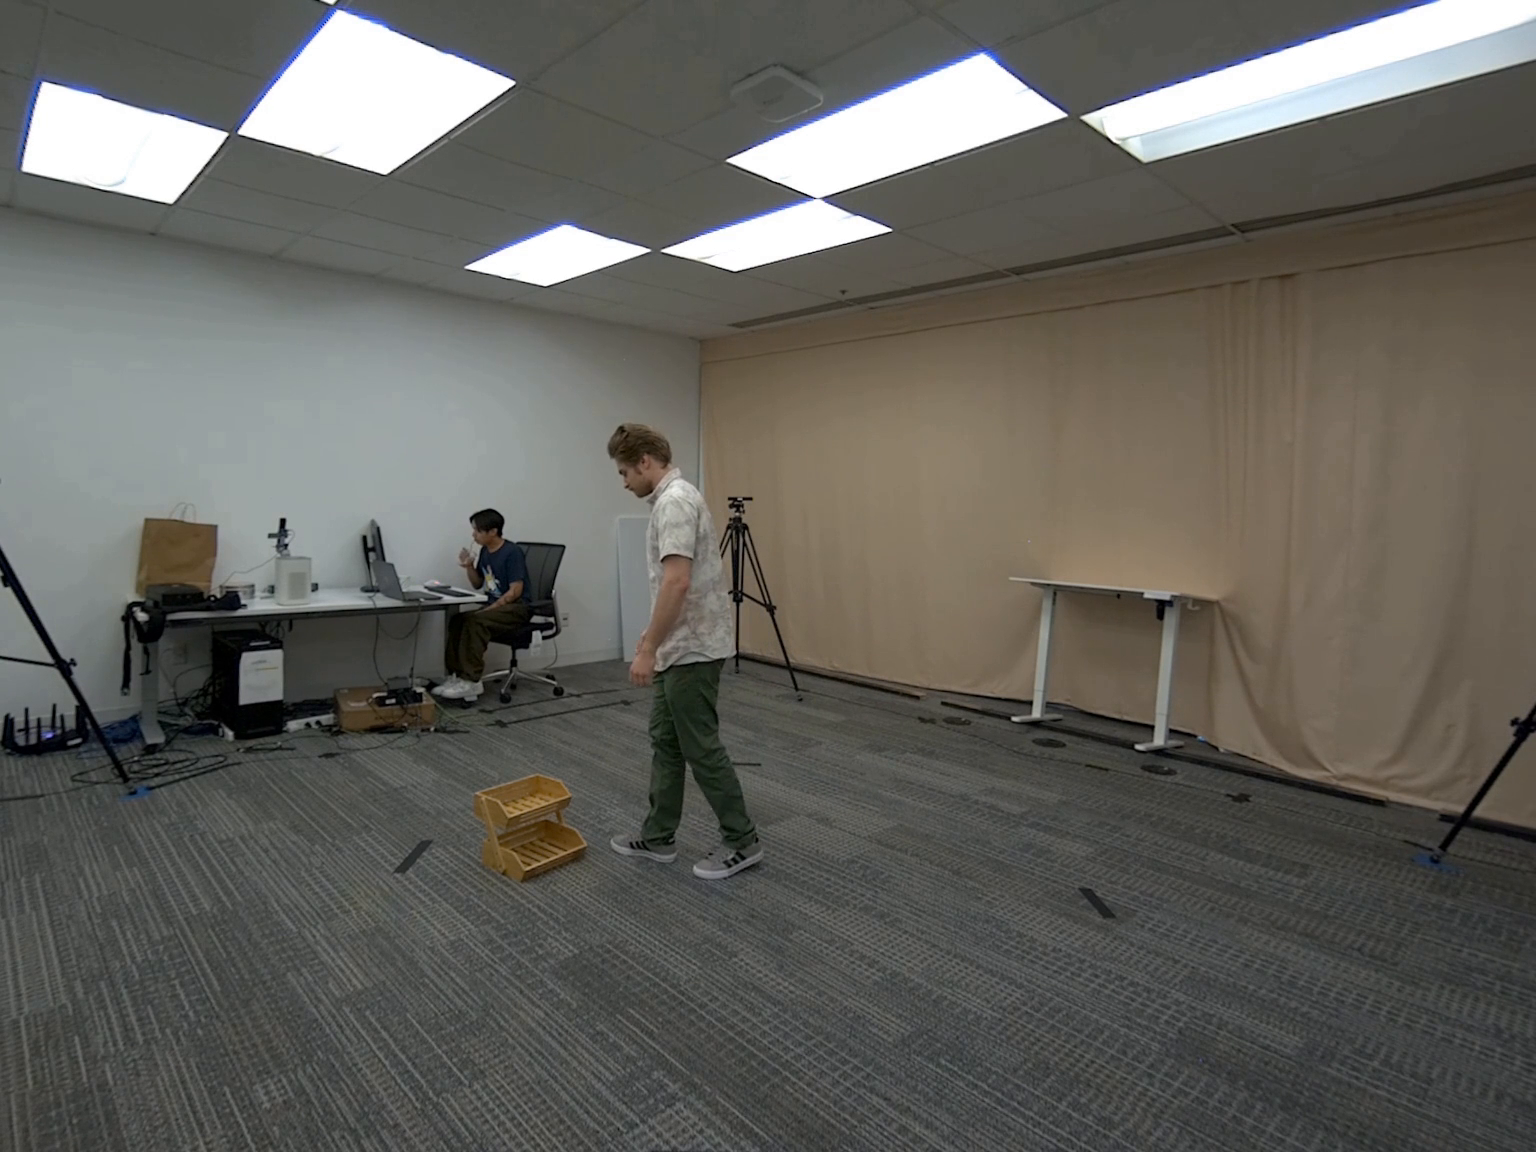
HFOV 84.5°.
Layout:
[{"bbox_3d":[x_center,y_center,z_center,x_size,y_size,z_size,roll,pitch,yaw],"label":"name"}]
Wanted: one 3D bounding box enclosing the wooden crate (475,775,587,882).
[{"bbox_3d":[-0.902,0.943,3.207,0.309,0.273,0.317,3,5,36],"label":"wooden crate"}]
